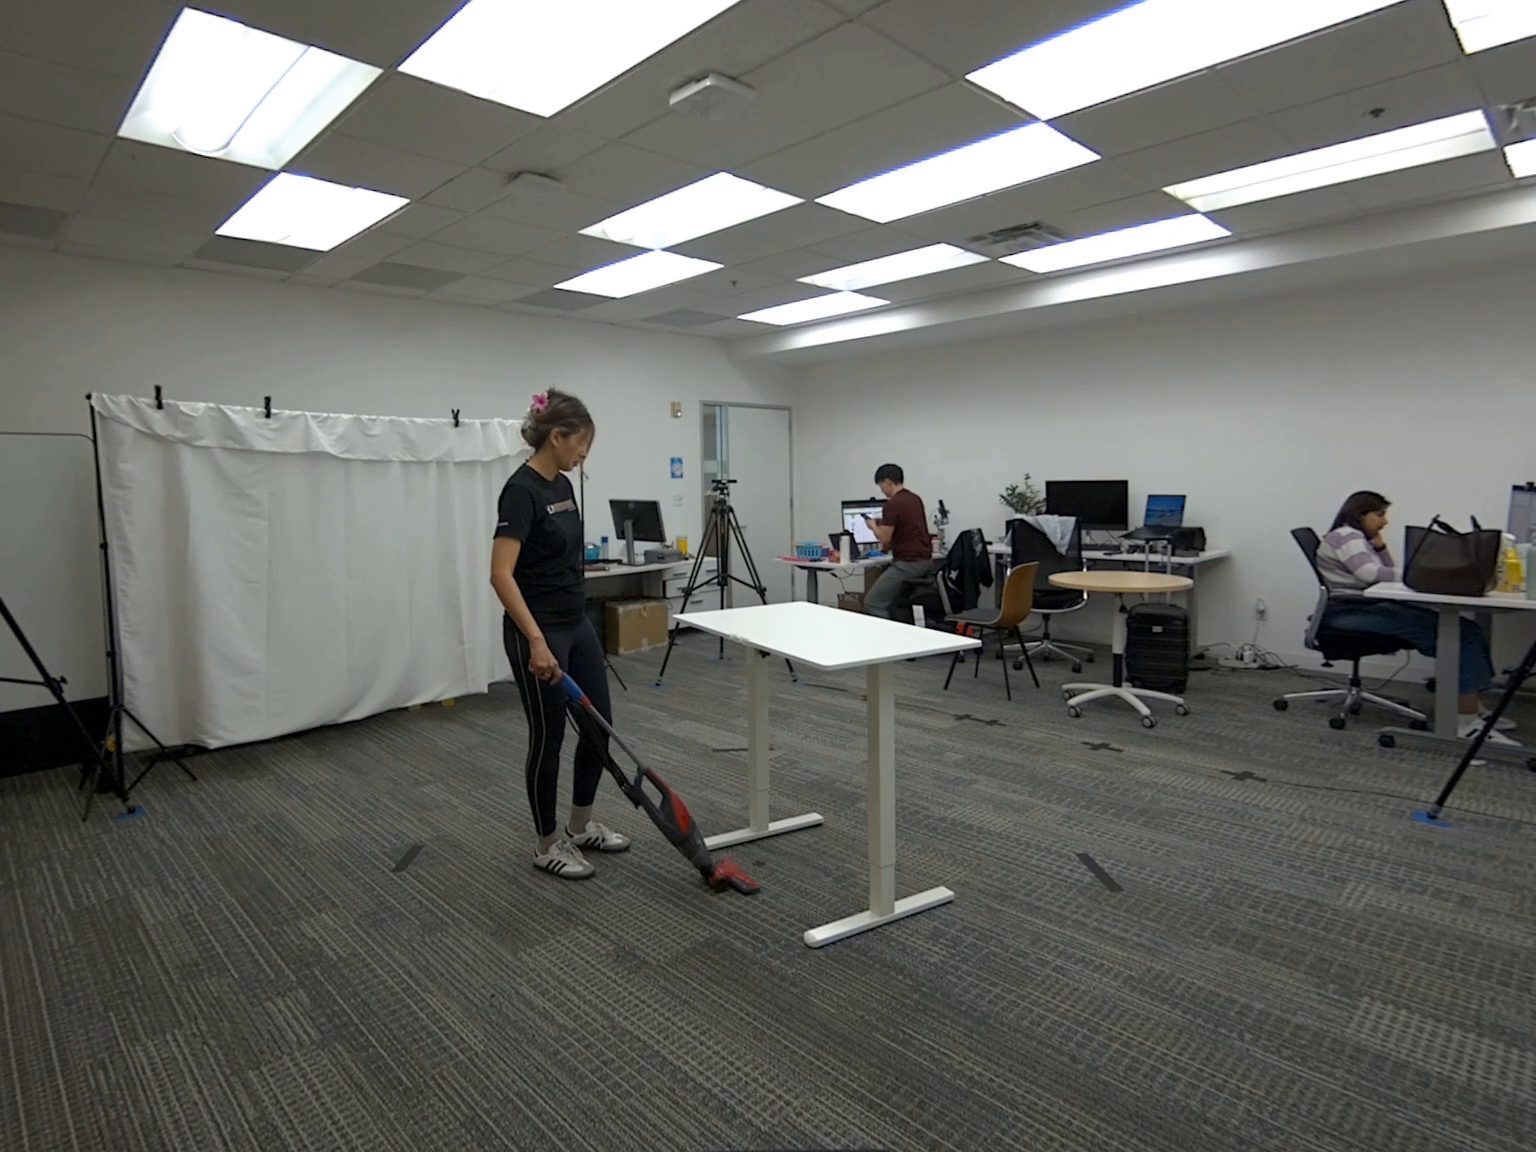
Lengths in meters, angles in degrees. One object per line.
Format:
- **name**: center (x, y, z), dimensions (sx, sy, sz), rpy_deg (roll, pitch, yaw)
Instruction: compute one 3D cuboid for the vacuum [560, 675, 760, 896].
- **vacuum**: center (-0.430, 0.663, 2.820), dimensions (0.144, 1.025, 0.259), rpy_deg (-44, 20, -21)
